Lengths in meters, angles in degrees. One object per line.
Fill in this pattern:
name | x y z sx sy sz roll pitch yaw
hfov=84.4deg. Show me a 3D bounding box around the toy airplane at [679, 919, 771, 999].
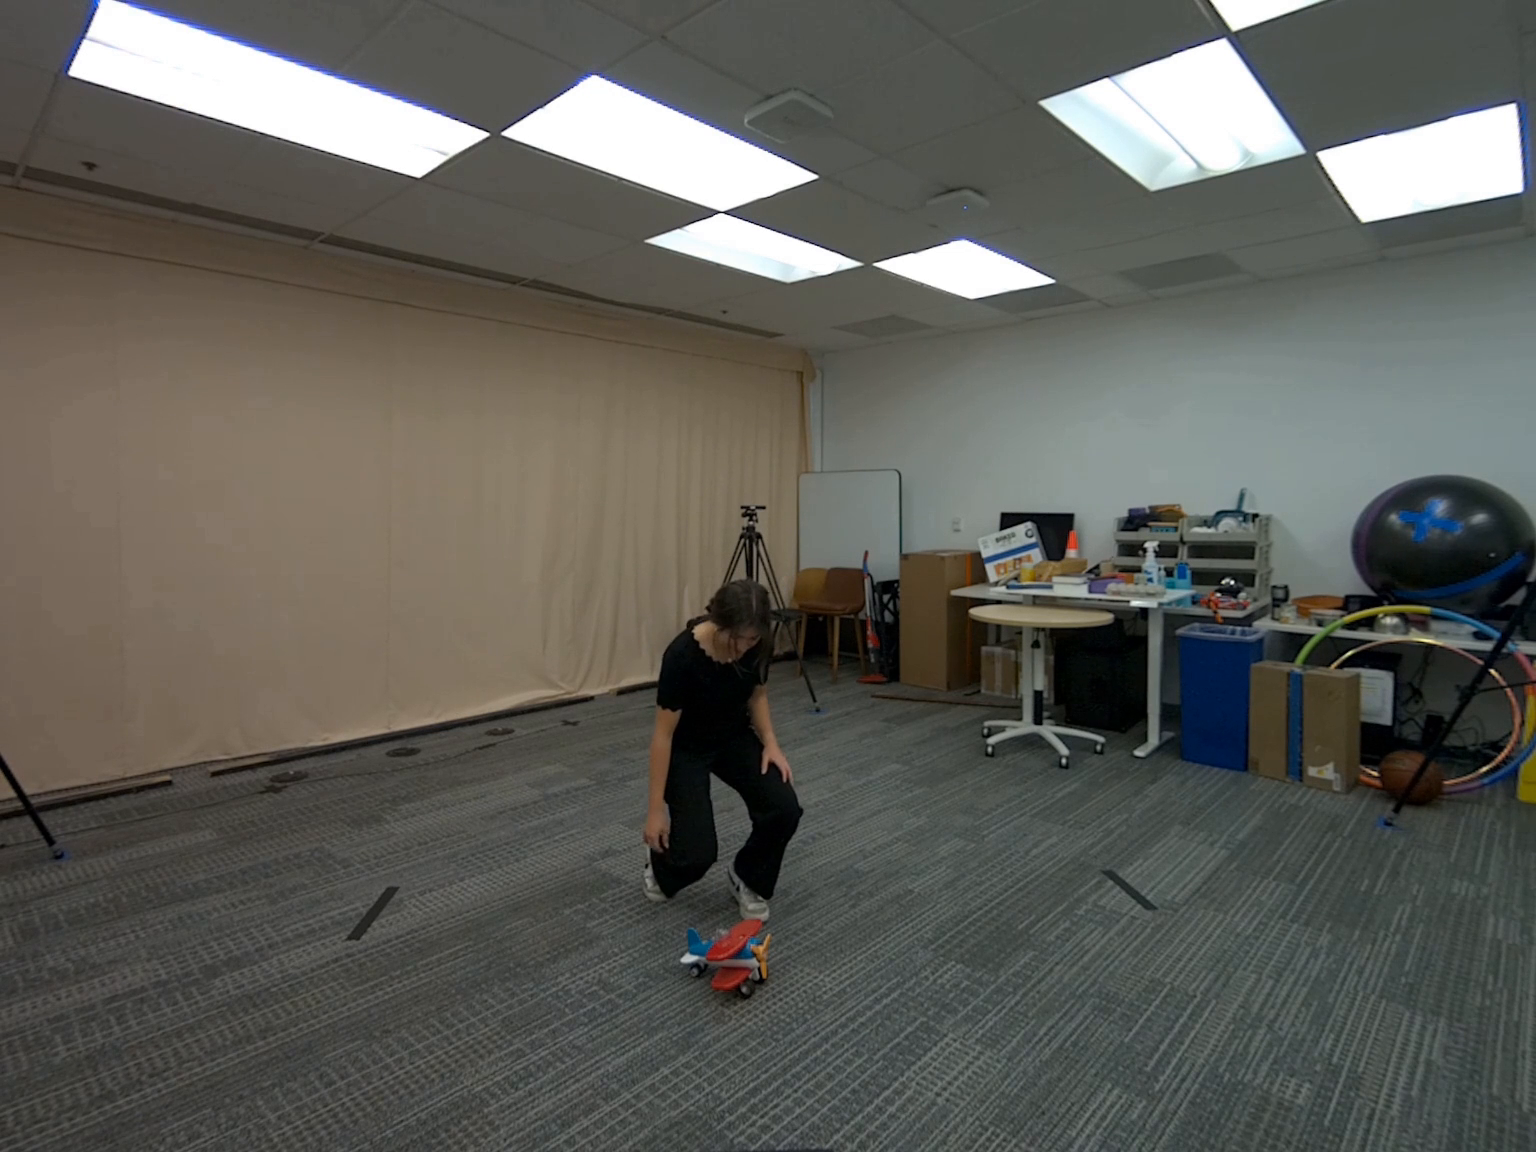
toy airplane | -0.127 1.117 2.435 0.259 0.156 0.251 1 4 0
